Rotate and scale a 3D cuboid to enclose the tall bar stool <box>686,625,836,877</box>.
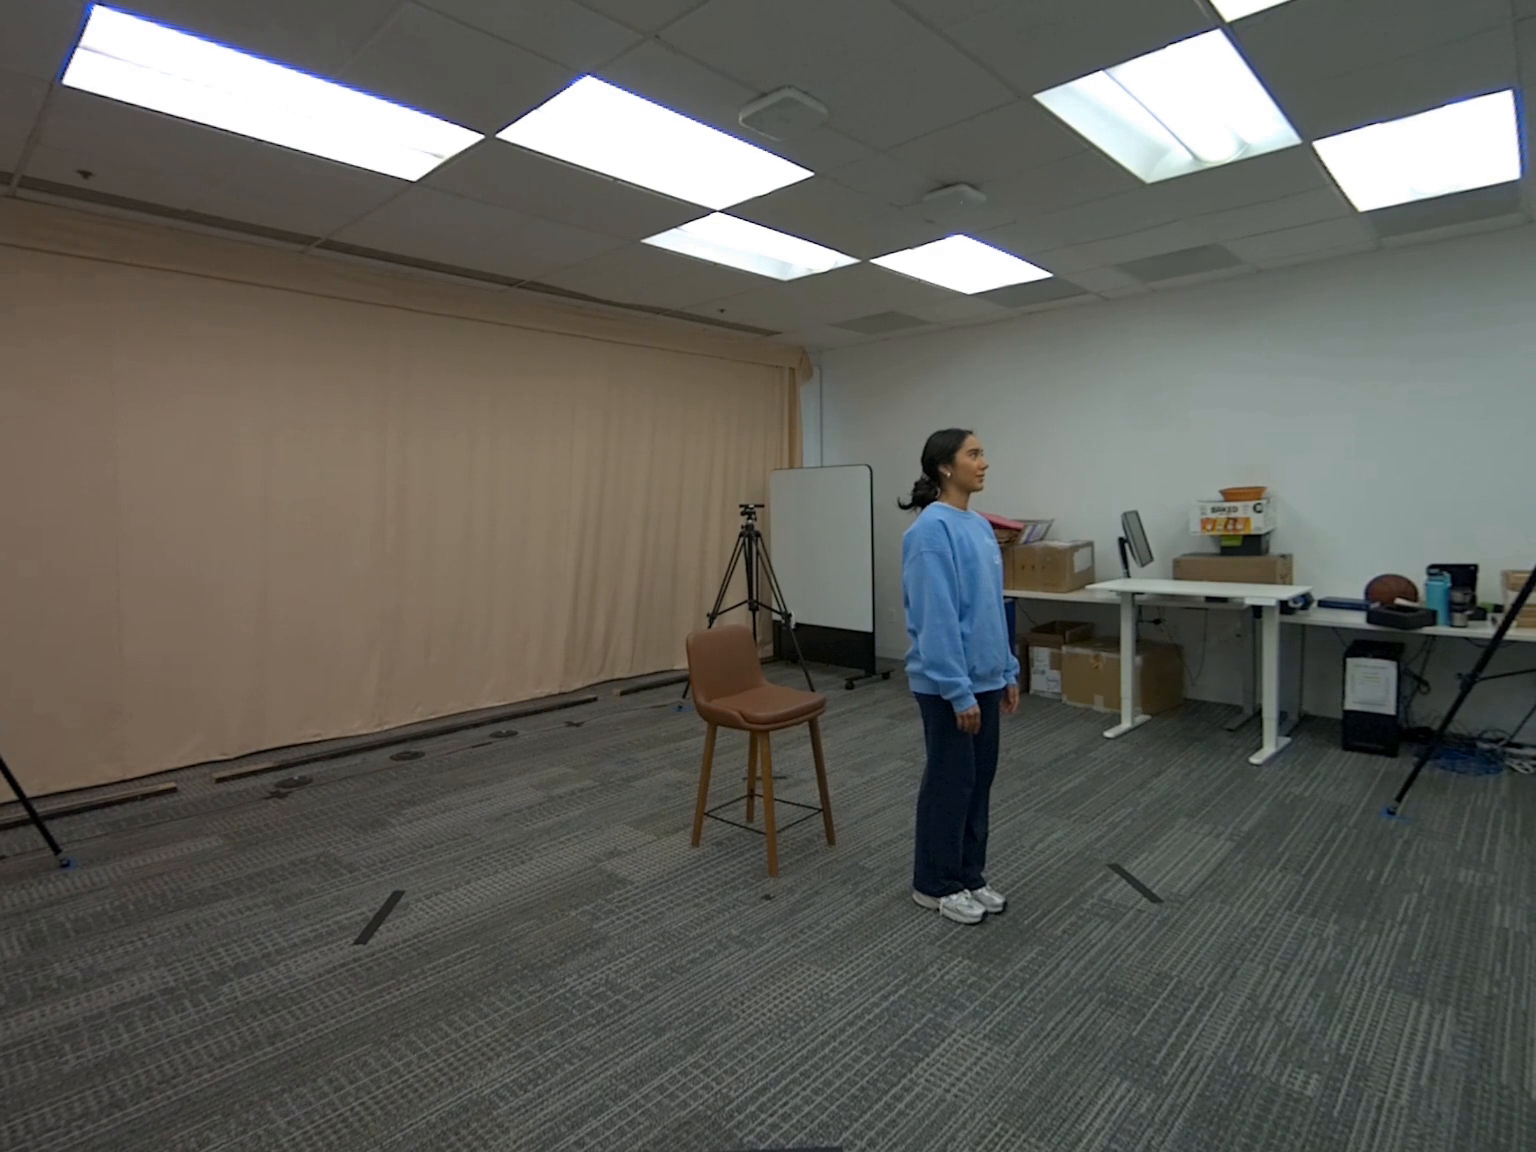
[{"bbox_3d":[-0.036,0.665,3.419,0.482,0.889,0.443,-1,2,41],"label":"tall bar stool"}]
